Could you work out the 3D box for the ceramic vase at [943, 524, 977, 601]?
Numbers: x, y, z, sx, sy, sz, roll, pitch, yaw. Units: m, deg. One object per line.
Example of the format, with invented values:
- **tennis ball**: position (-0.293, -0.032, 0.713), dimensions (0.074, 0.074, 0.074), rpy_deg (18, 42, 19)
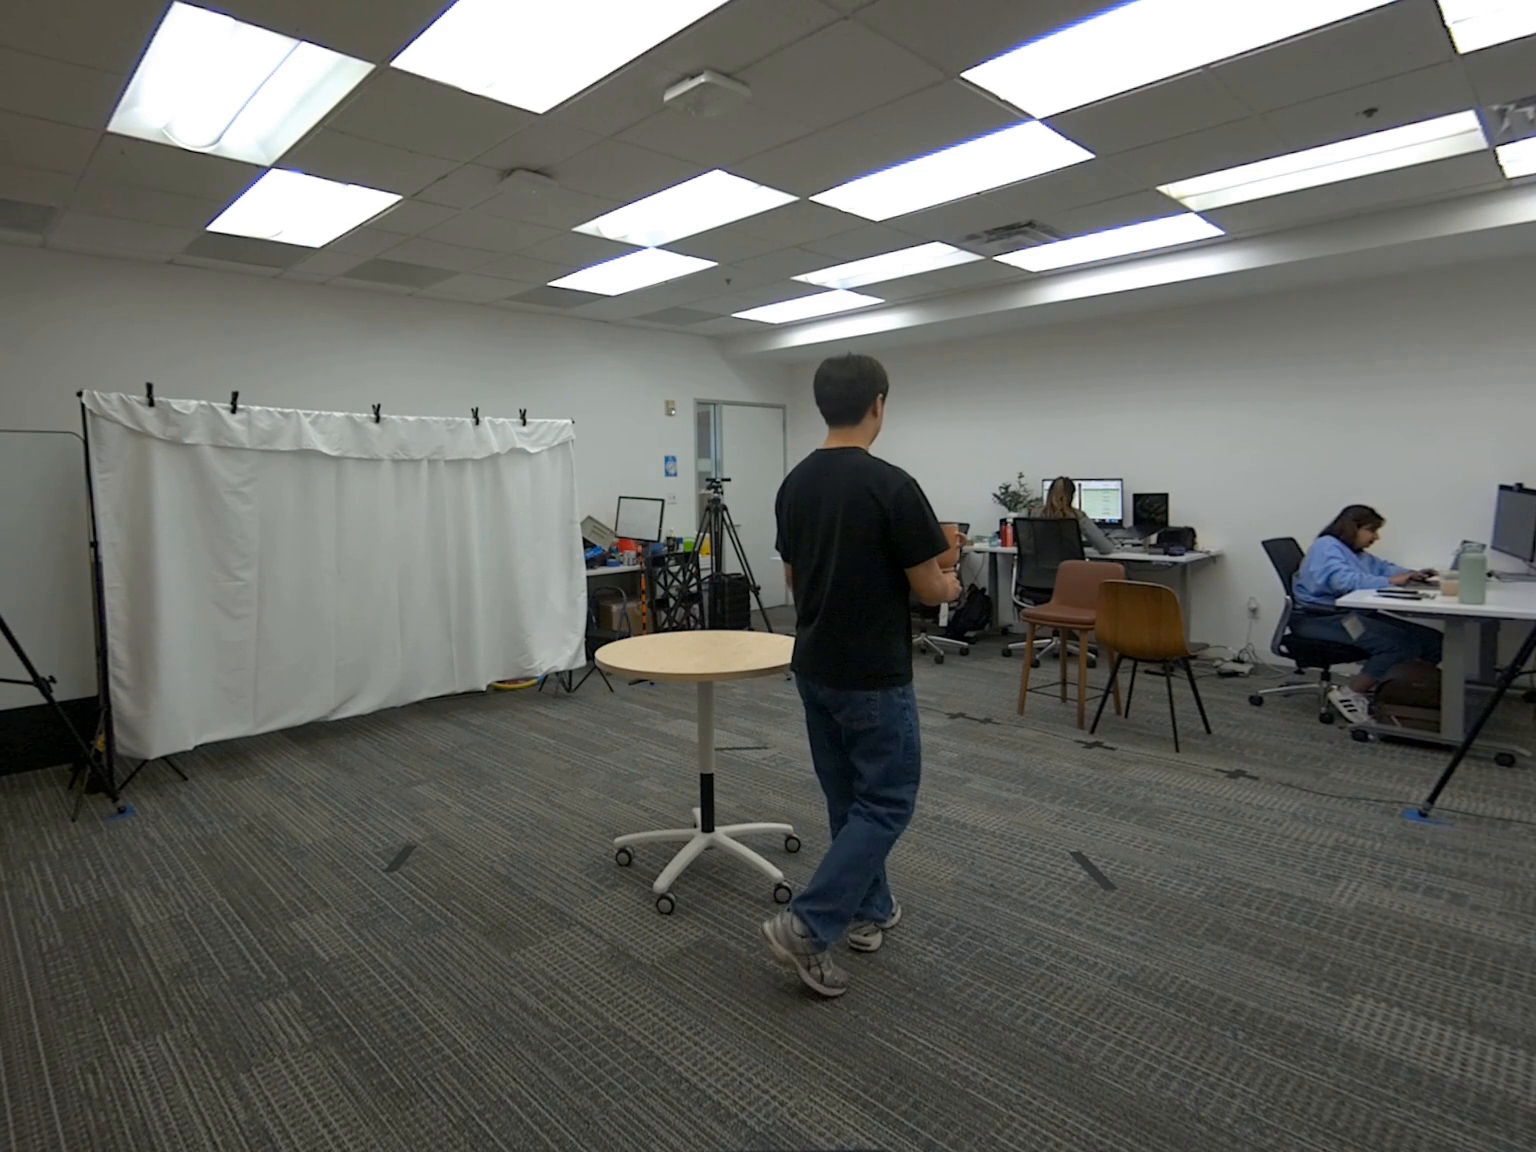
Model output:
- **ceramic vase**: position (0.537, -0.046, 2.643), dimensions (0.133, 0.219, 0.161), rpy_deg (-3, 4, -13)
